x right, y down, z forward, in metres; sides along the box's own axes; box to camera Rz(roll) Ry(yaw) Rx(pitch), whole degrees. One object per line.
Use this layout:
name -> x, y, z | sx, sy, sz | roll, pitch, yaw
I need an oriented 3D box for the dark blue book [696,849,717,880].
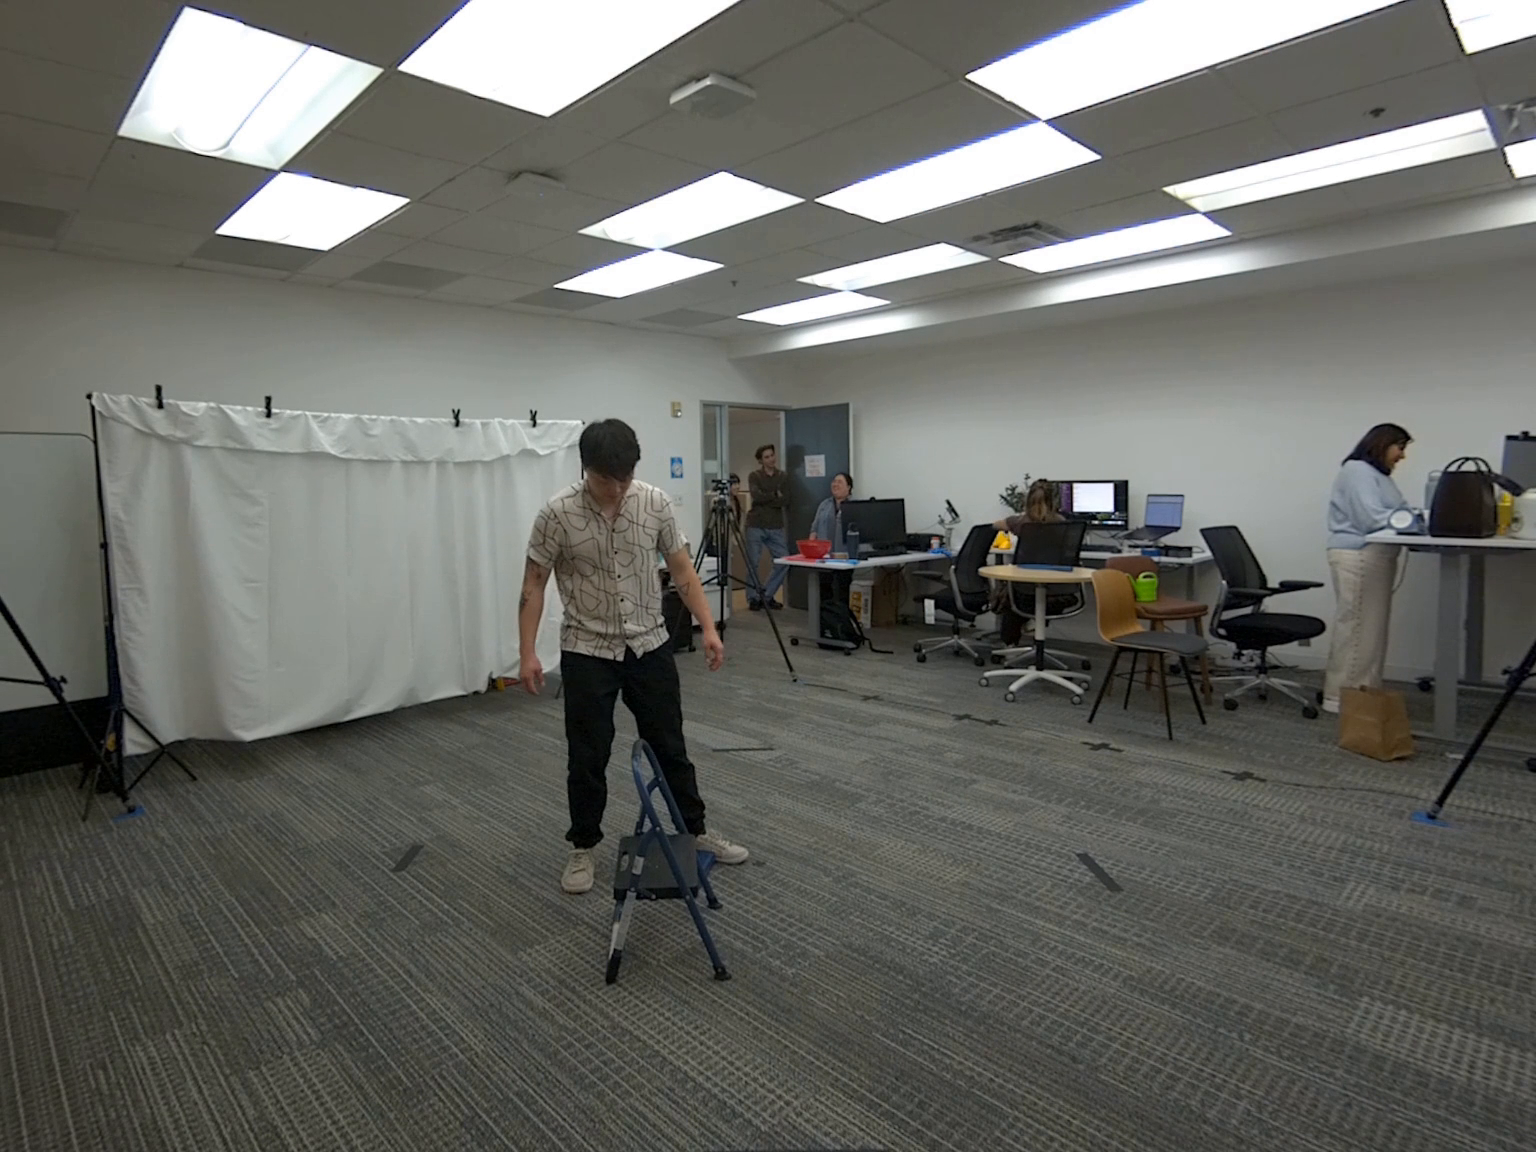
dark blue book -> -0.291, 1.050, 3.016 | 0.165, 0.045, 0.243 | 0, 6, 13
